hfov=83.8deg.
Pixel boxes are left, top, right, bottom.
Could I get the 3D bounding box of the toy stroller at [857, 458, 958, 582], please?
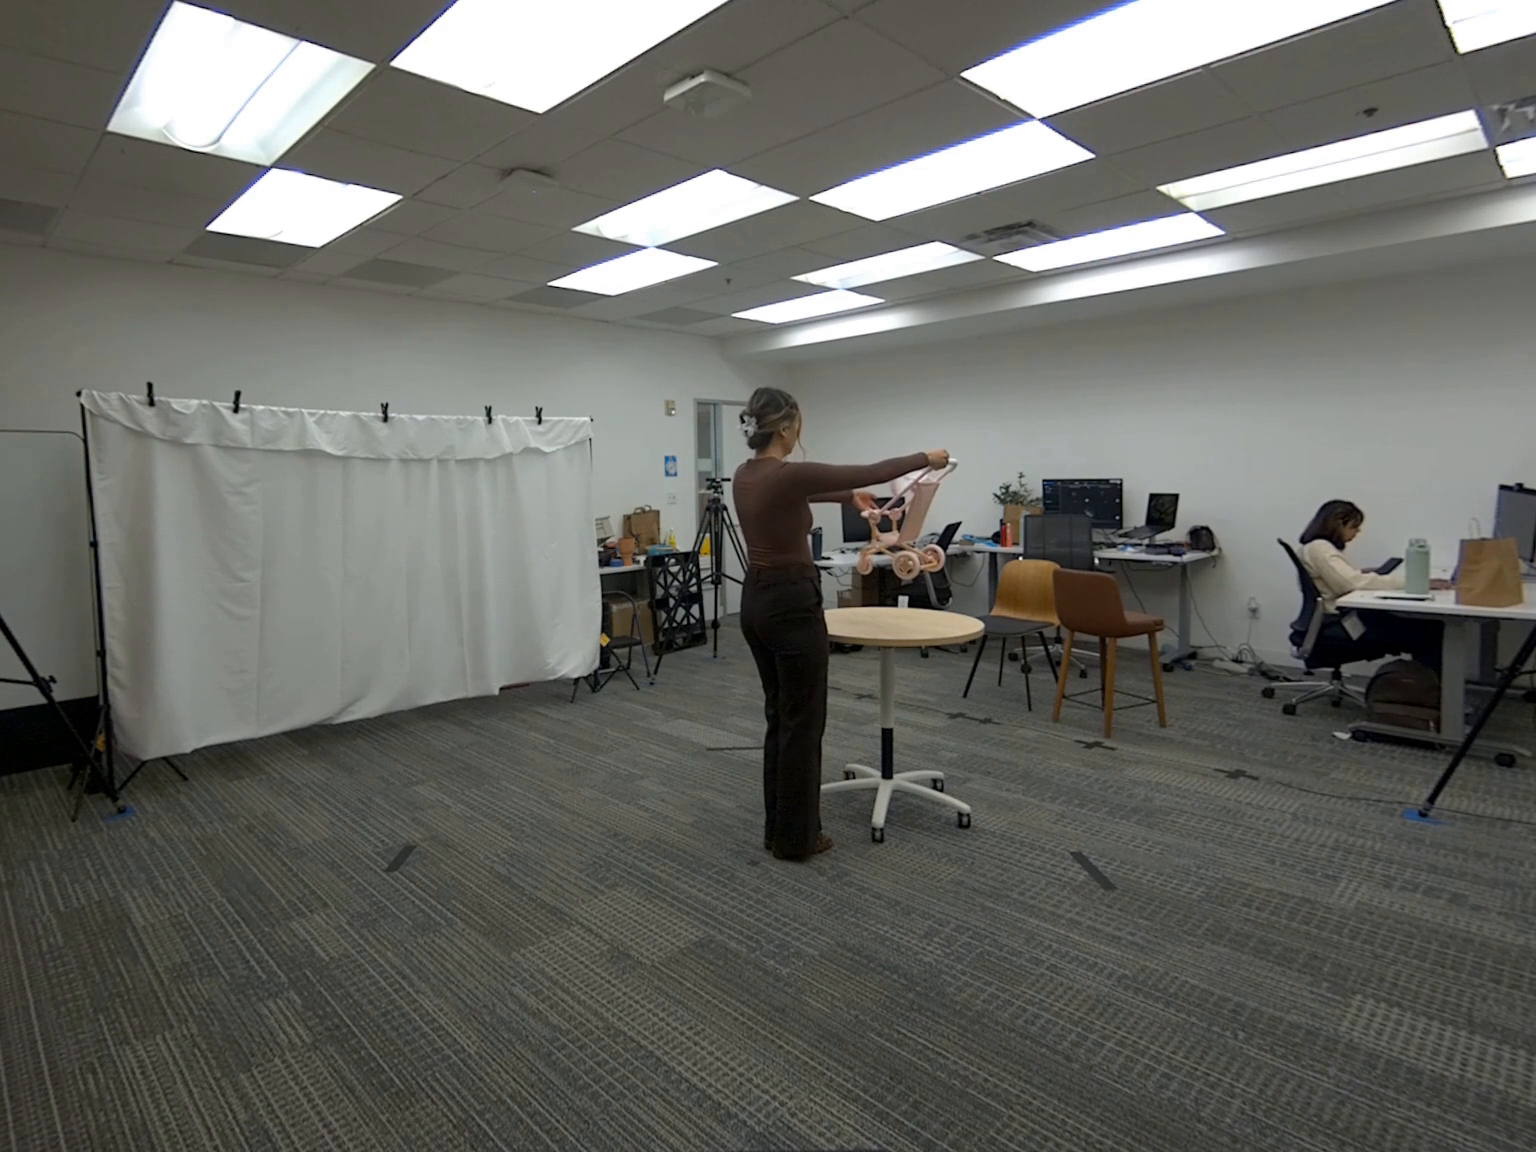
[{"bbox_3d":[0.544,-0.231,3.464,0.353,0.530,0.274,17,15,39],"label":"toy stroller"}]
